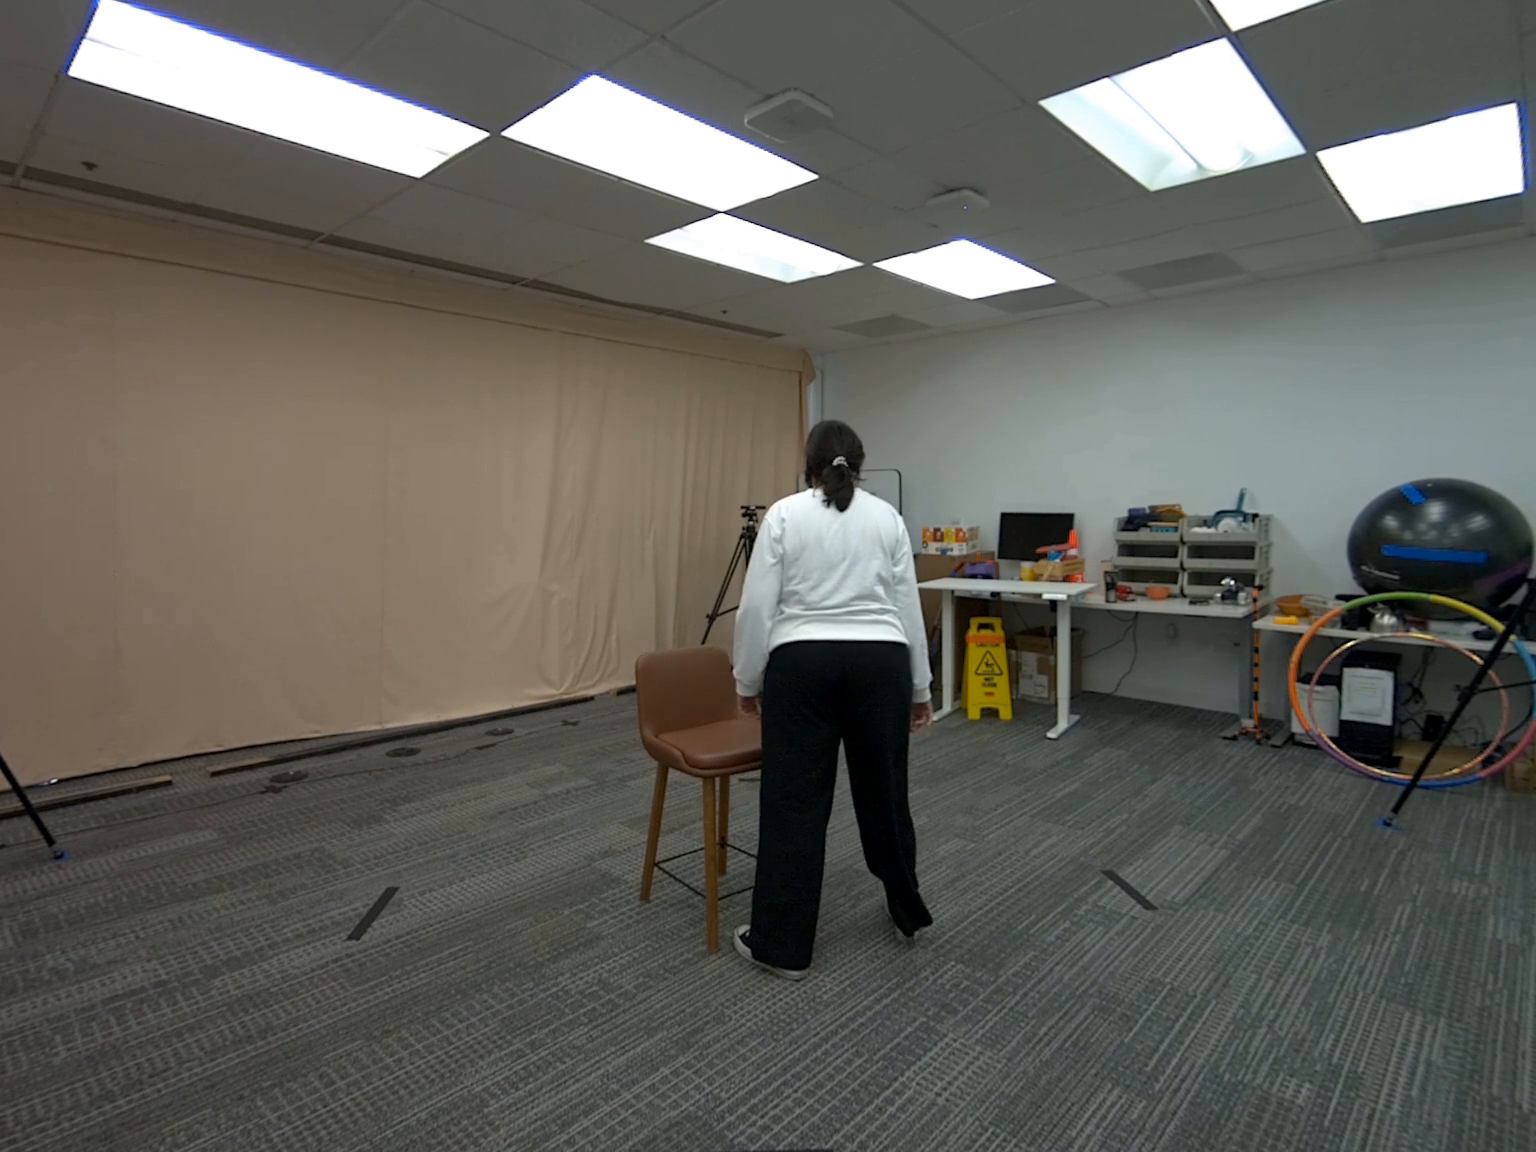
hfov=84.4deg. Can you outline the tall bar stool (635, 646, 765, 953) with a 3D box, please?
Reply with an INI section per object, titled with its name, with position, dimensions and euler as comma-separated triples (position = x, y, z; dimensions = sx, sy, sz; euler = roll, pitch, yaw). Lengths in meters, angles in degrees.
[tall bar stool]
position = -0.166, 0.713, 2.894
dimensions = 0.443, 0.888, 0.482
euler = -3, 3, -39
